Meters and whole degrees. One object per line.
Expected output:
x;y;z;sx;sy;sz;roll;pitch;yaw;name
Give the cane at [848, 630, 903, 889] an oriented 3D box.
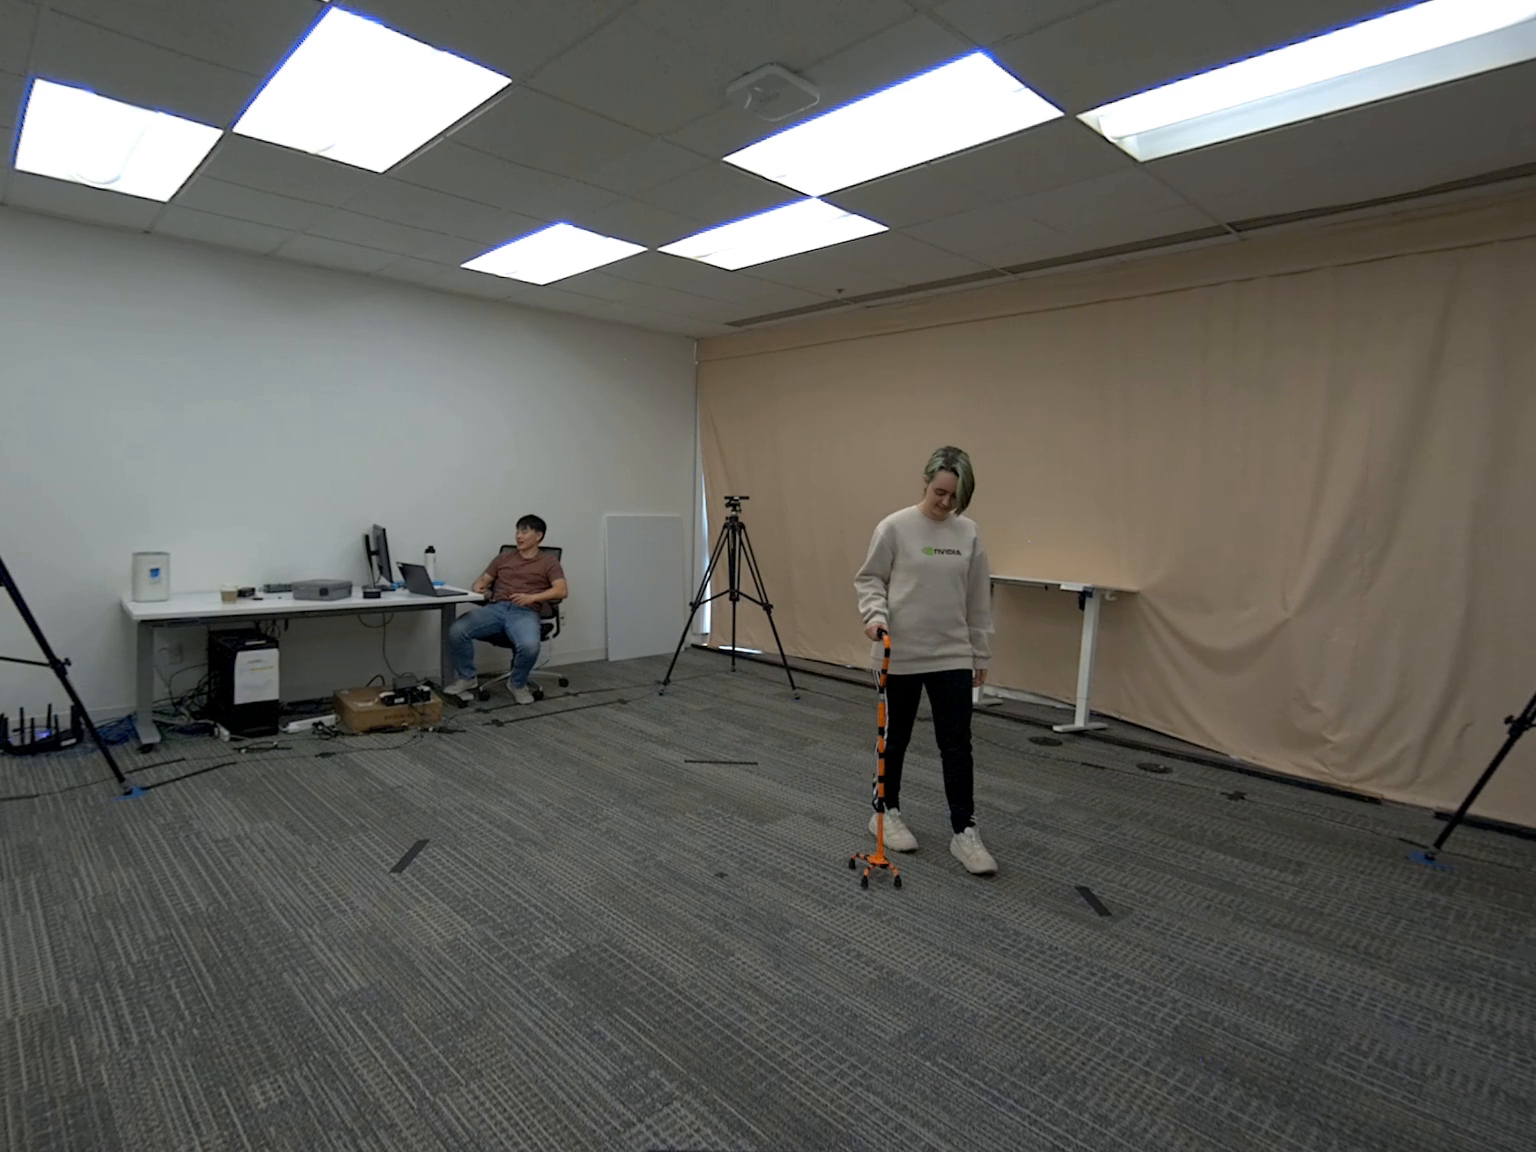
0.395;0.656;3.108;0.150;0.907;0.208;1;0;-9;cane
